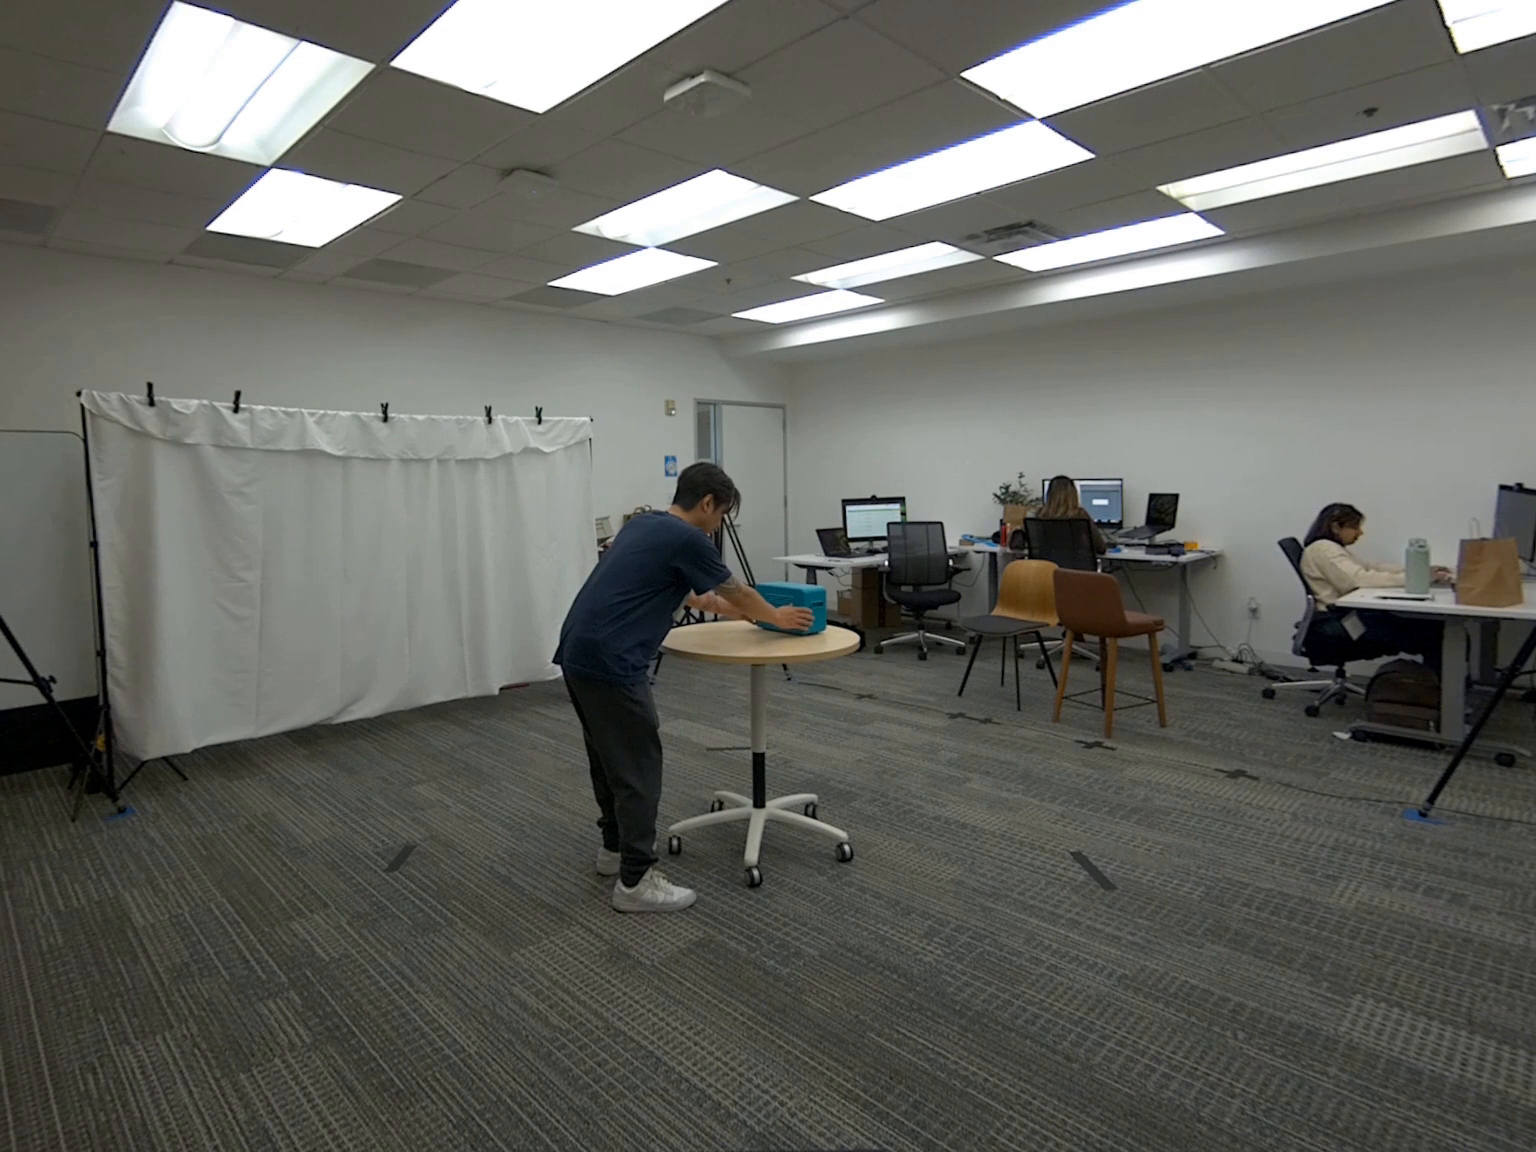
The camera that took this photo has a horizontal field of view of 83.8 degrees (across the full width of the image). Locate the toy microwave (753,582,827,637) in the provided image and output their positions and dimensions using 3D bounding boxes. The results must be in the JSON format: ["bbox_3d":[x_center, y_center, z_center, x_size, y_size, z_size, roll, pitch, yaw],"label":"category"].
[{"bbox_3d":[0.094,0.123,3.349,0.148,0.183,0.295,-4,6,-41],"label":"toy microwave"}]
